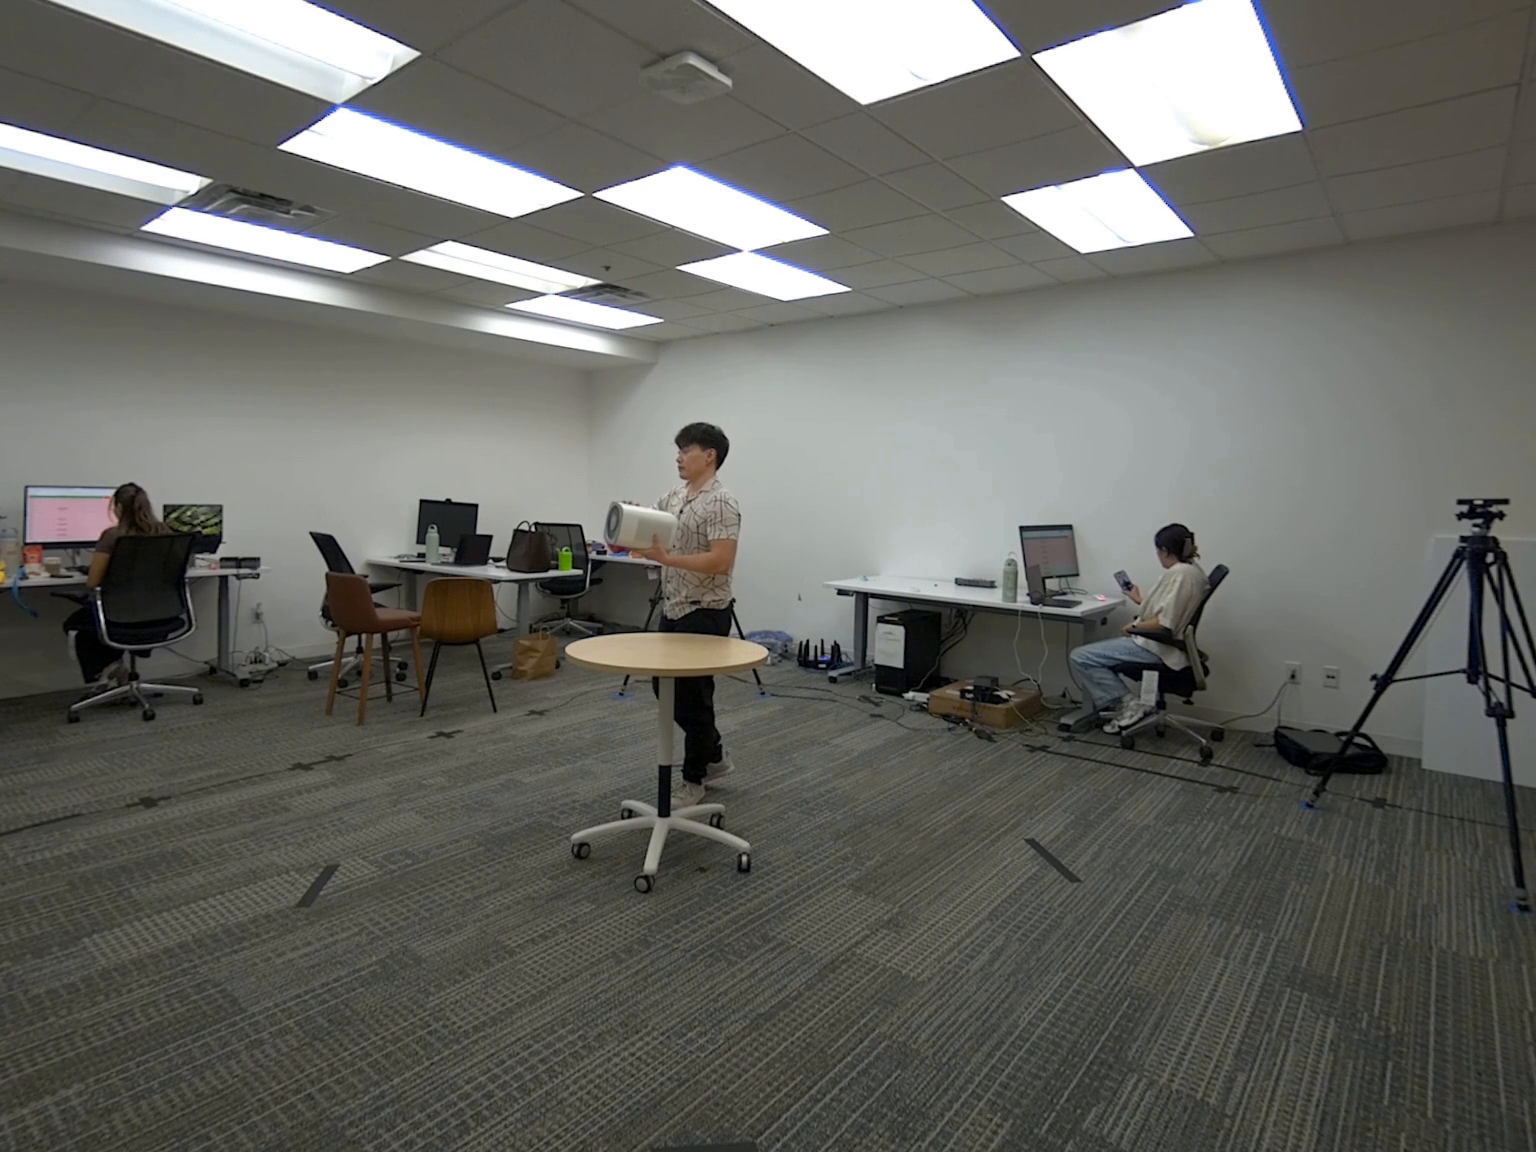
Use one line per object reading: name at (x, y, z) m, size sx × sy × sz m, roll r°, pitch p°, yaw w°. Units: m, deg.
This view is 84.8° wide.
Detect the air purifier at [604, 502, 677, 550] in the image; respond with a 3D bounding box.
air purifier at (-0.545, -0.206, 3.552) m, size 0.257 × 0.171 × 0.177 m, roll 11°, pitch 6°, yaw -28°
